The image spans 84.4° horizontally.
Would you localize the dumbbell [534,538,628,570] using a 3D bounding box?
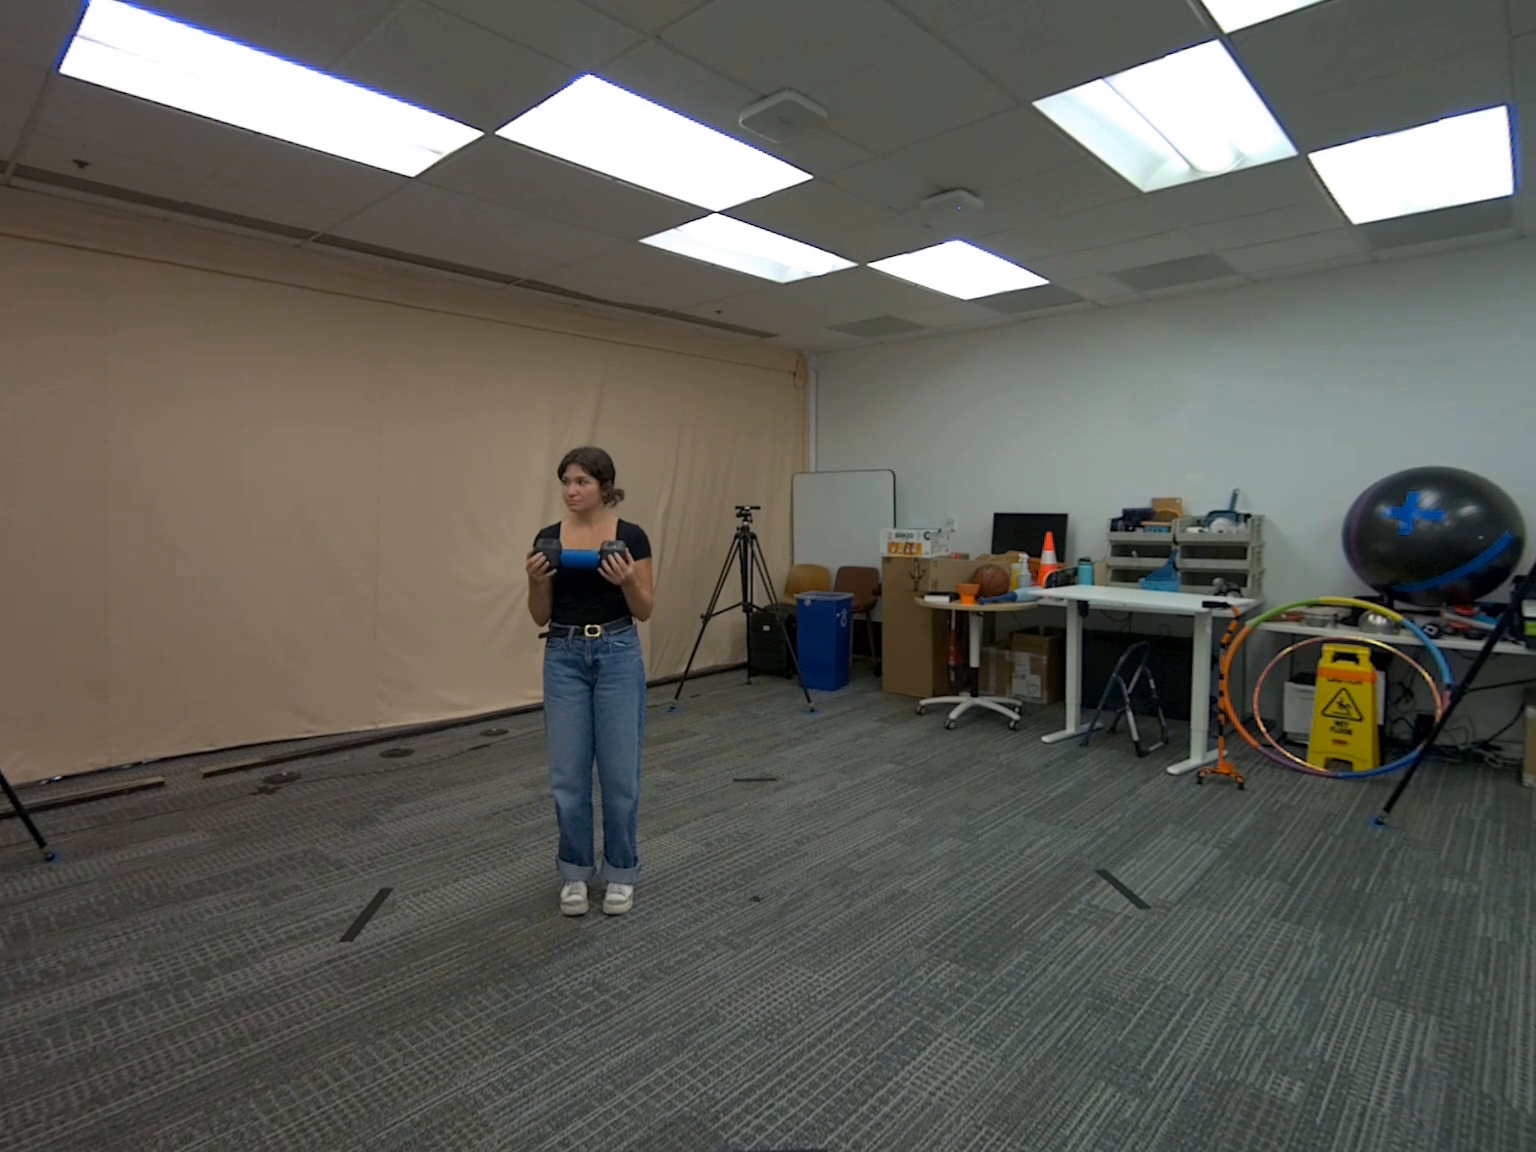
[{"bbox_3d":[-0.624,-0.048,2.760,0.293,0.123,0.109,0,-2,-2],"label":"dumbbell"}]
